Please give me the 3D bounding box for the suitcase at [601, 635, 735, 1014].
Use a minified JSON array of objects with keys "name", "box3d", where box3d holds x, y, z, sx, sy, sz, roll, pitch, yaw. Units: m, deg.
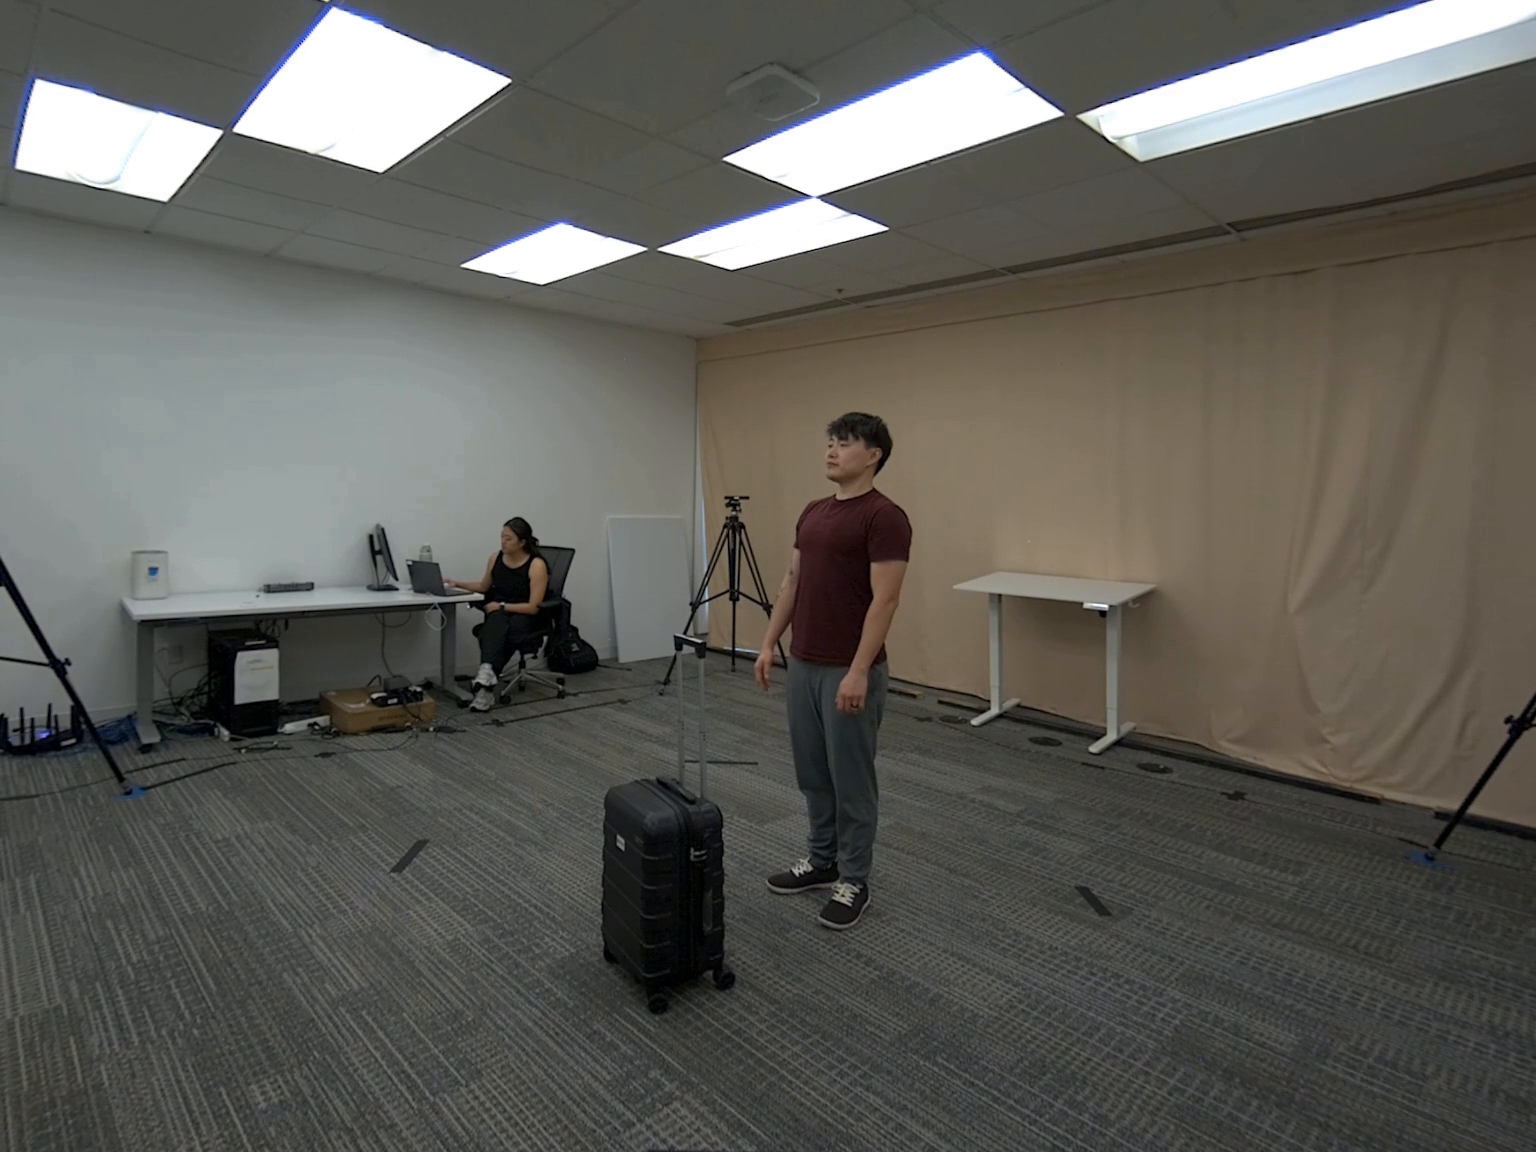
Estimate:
[{"name":"suitcase","box3d":[-0.317,0.689,2.419,0.252,0.975,0.392,-4,5,-29]}]
